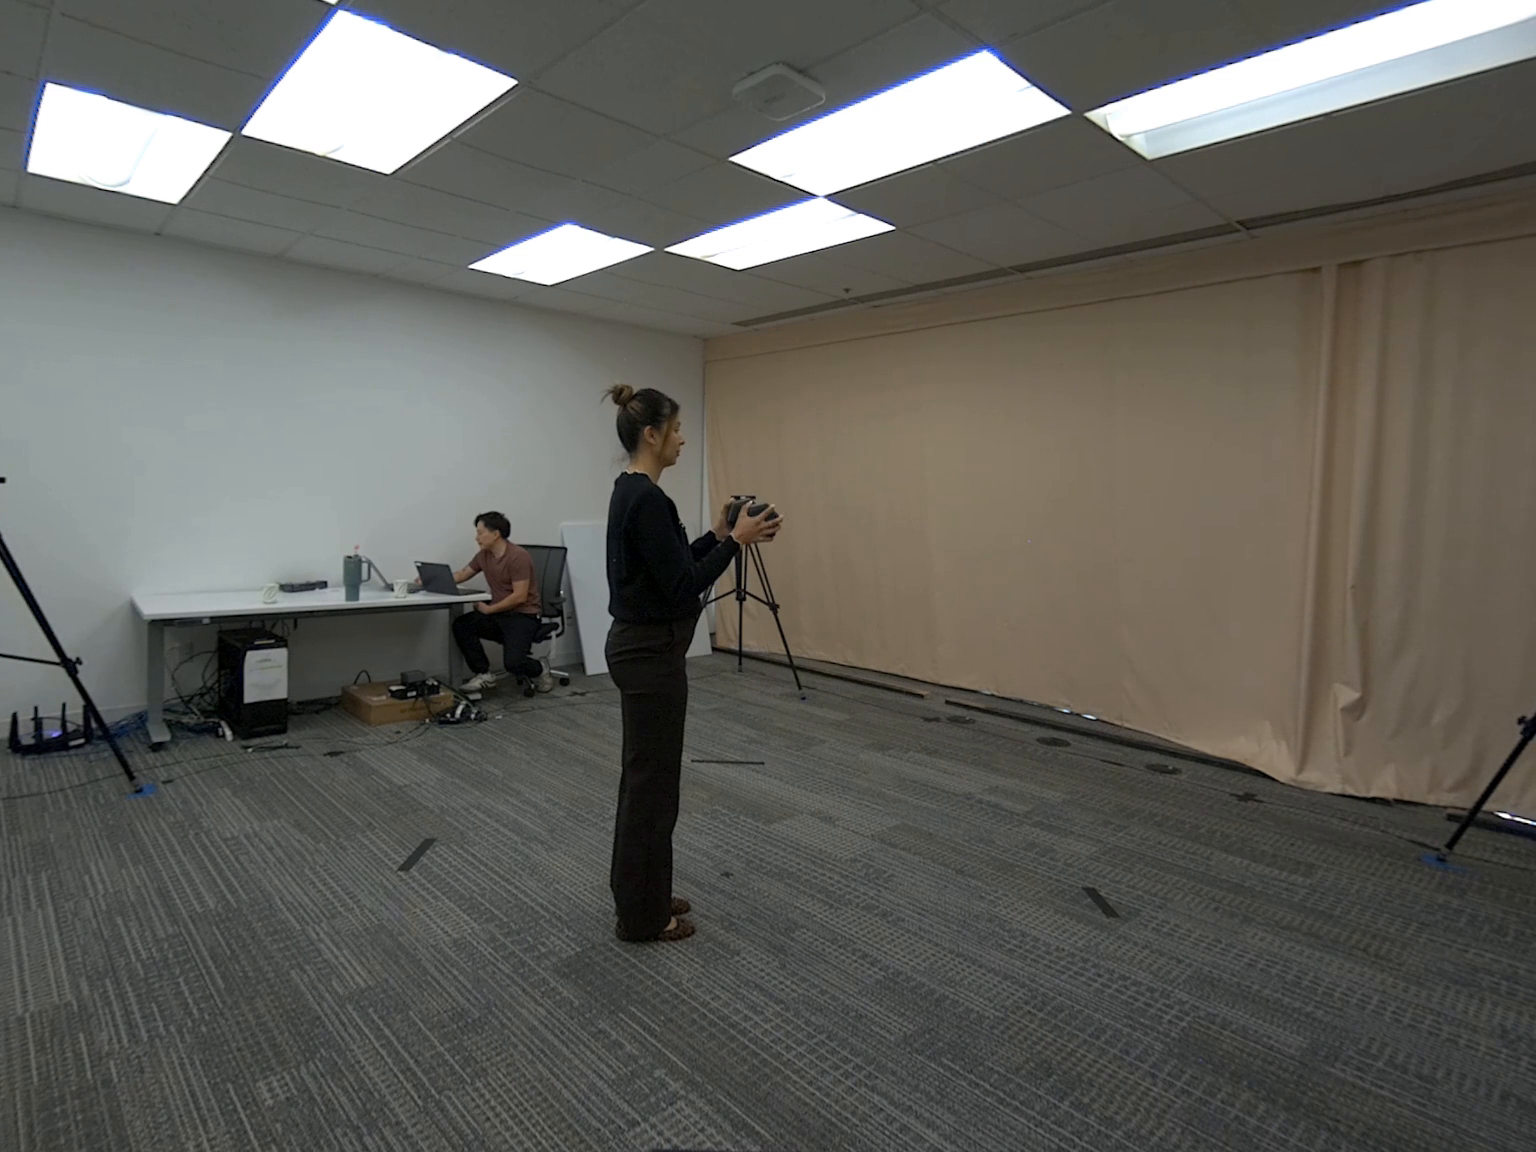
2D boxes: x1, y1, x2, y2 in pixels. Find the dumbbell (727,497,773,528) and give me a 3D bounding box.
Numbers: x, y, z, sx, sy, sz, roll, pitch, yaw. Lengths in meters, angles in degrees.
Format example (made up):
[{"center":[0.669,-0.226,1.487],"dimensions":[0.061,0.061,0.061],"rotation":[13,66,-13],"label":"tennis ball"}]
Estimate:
[{"center":[-0.089,-0.178,2.707],"dimensions":[0.123,0.108,0.296],"rotation":[-11,10,-1],"label":"dumbbell"}]
